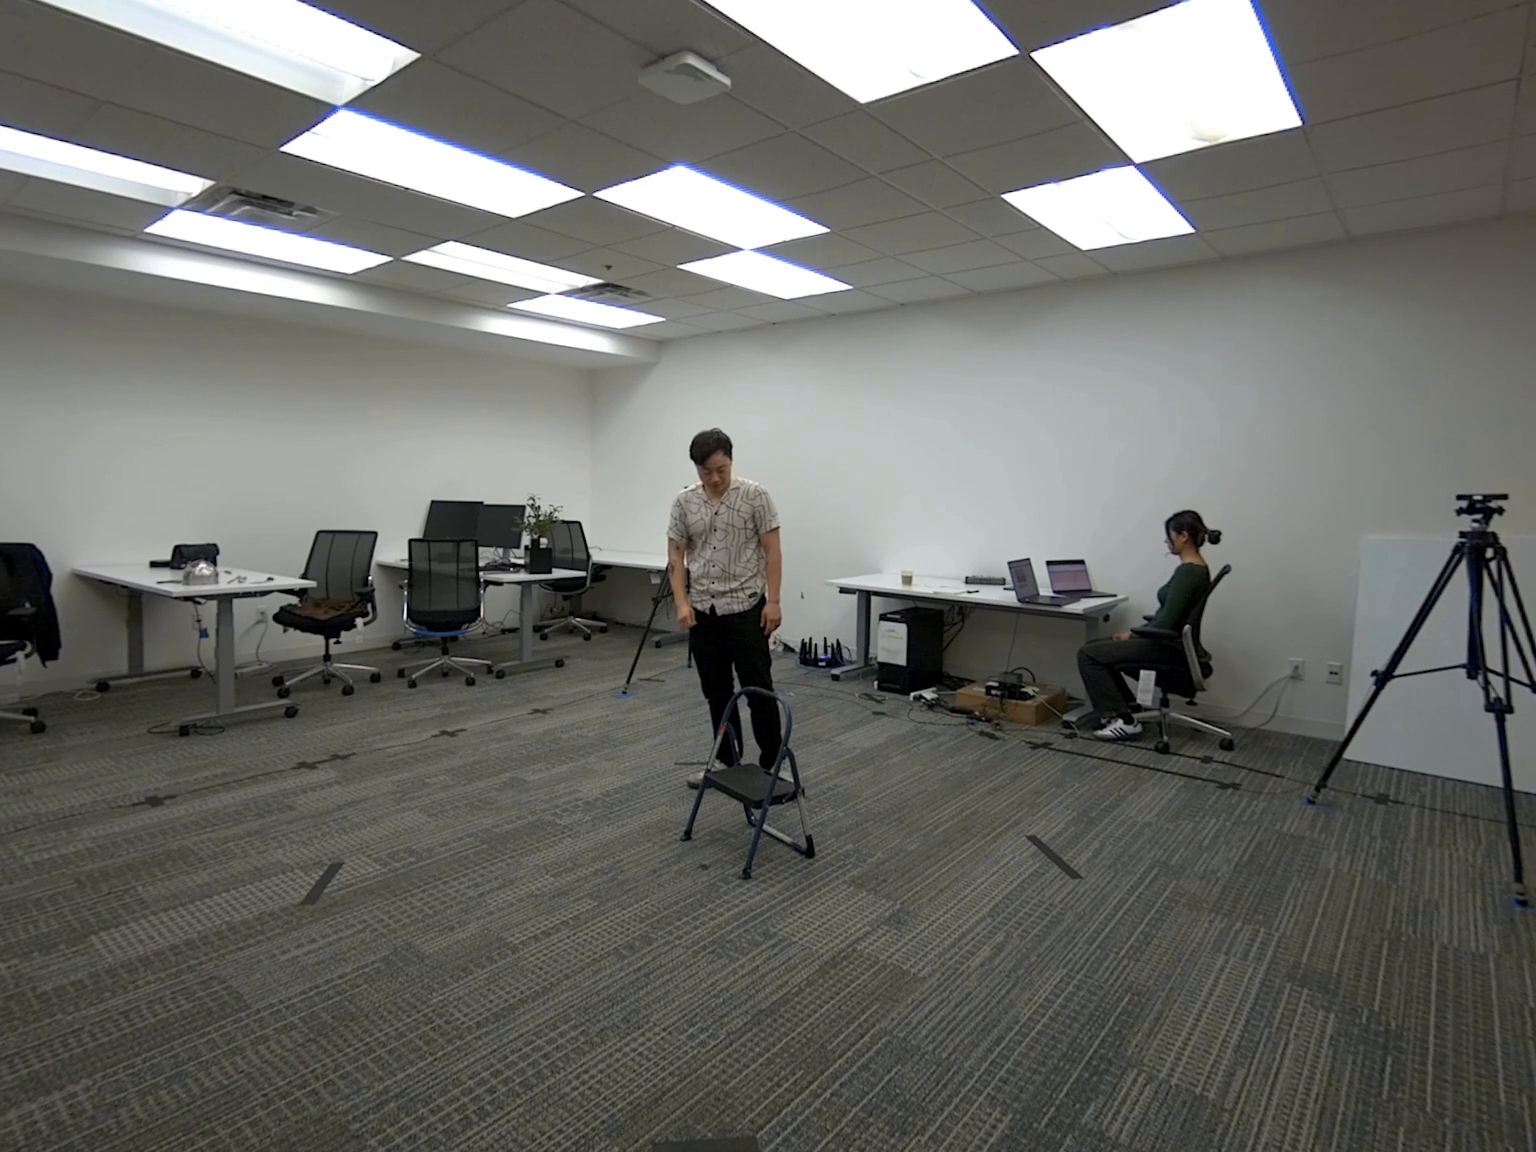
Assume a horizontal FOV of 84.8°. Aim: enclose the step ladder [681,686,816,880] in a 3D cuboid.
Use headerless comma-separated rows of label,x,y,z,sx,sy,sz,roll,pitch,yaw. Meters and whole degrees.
step ladder,-0.079,0.745,3.275,0.339,0.605,0.445,0,3,-37
